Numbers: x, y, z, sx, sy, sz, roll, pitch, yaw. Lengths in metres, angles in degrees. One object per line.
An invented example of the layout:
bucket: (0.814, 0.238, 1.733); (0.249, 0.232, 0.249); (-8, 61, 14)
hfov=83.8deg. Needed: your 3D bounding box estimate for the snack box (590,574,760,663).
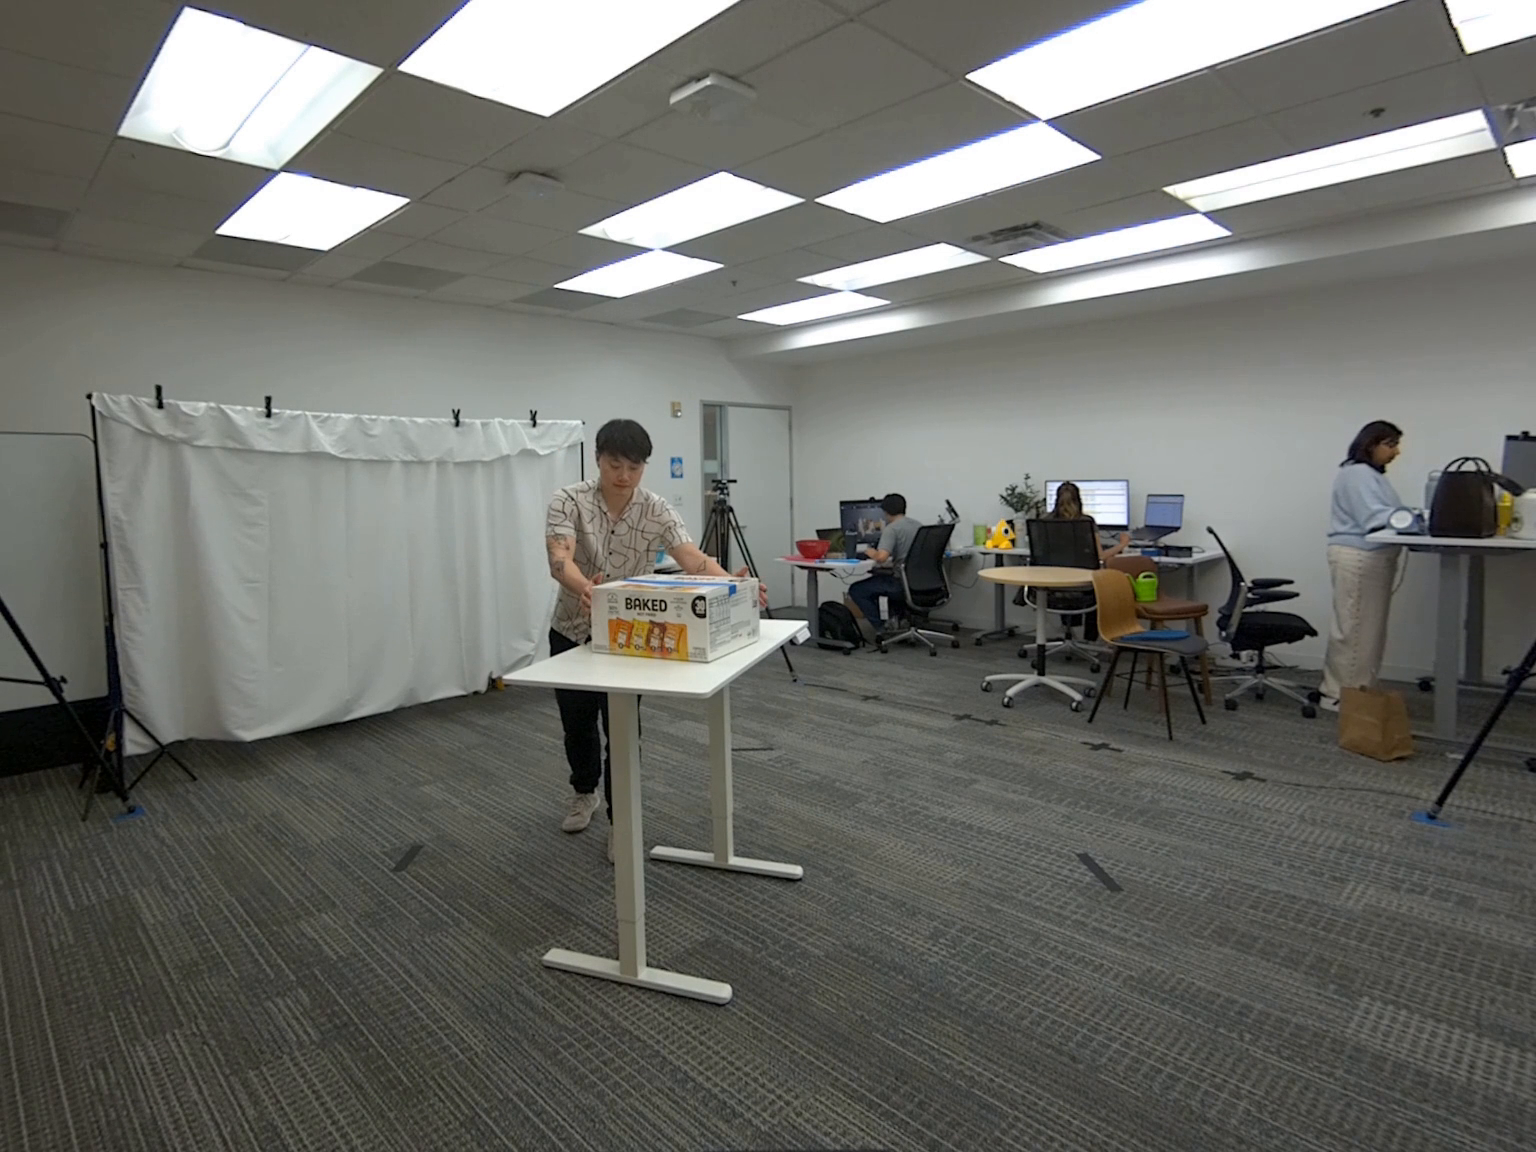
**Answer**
snack box: (-0.282, 0.121, 2.651); (0.415, 0.204, 0.334); (2, 7, 27)
